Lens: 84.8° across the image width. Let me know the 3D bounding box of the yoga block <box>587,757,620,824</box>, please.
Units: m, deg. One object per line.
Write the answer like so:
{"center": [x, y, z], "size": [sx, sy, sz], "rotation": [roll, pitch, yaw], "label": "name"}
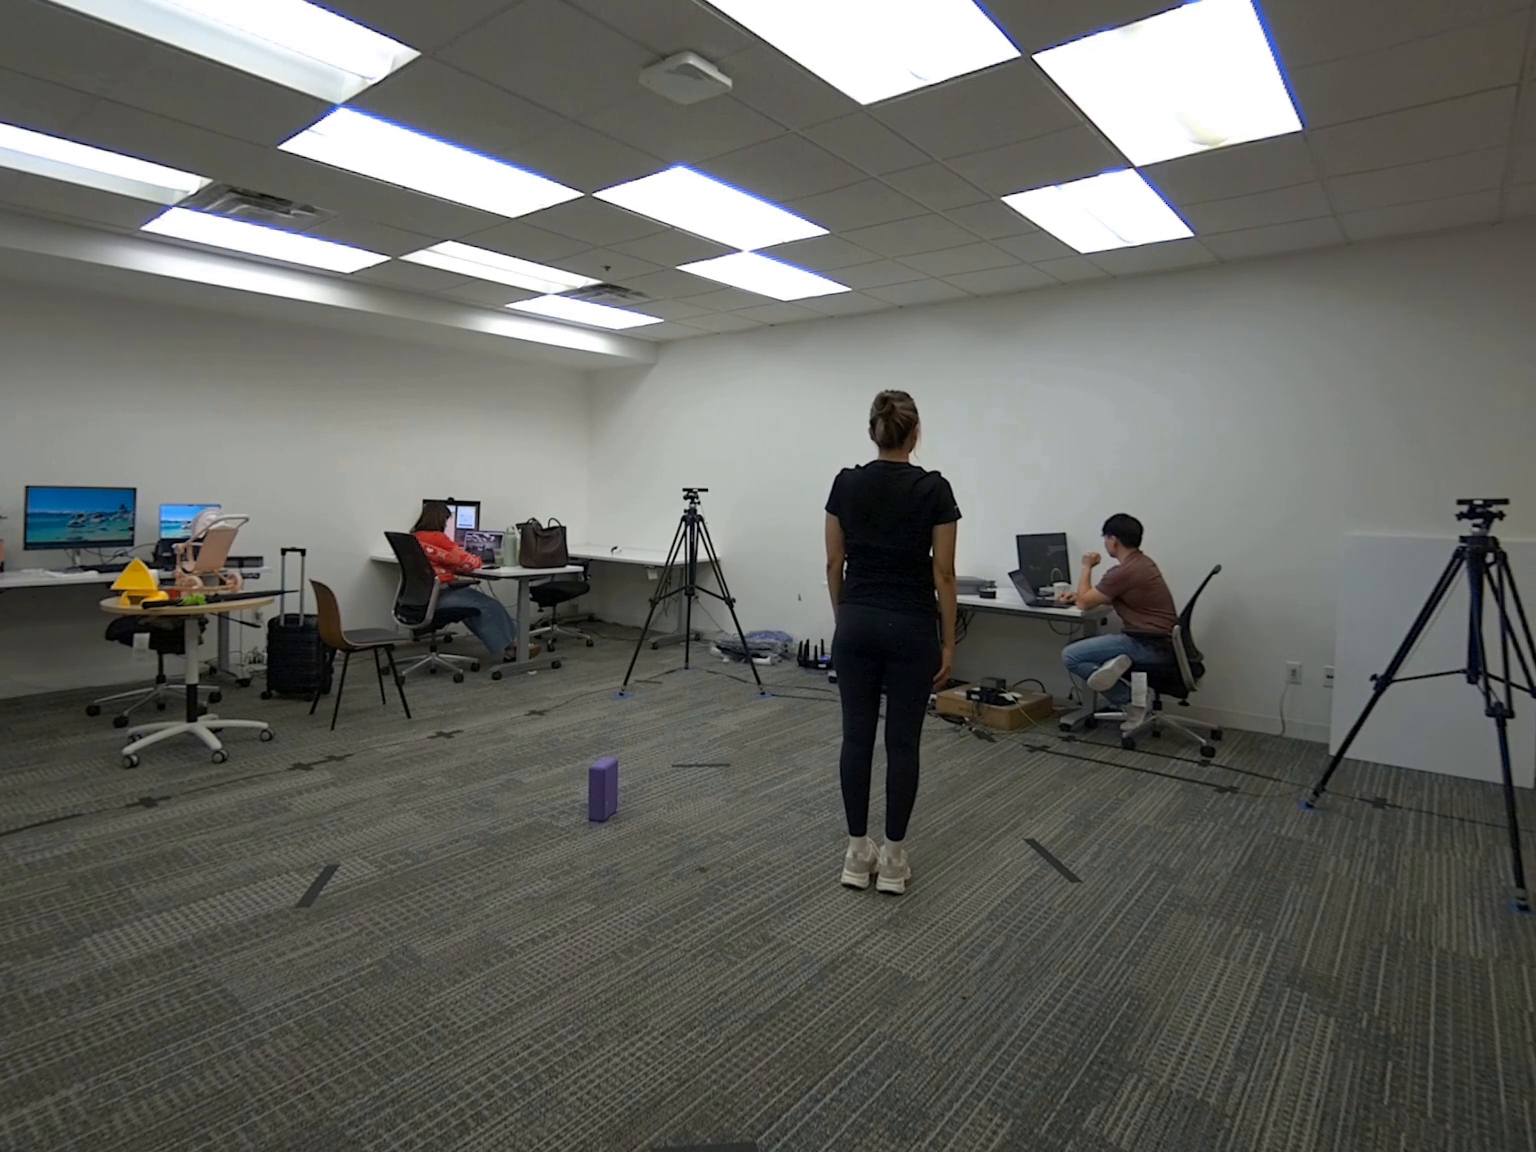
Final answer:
{"center": [-0.713, 0.900, 3.607], "size": [0.078, 0.229, 0.147], "rotation": [1, 3, 15], "label": "yoga block"}
